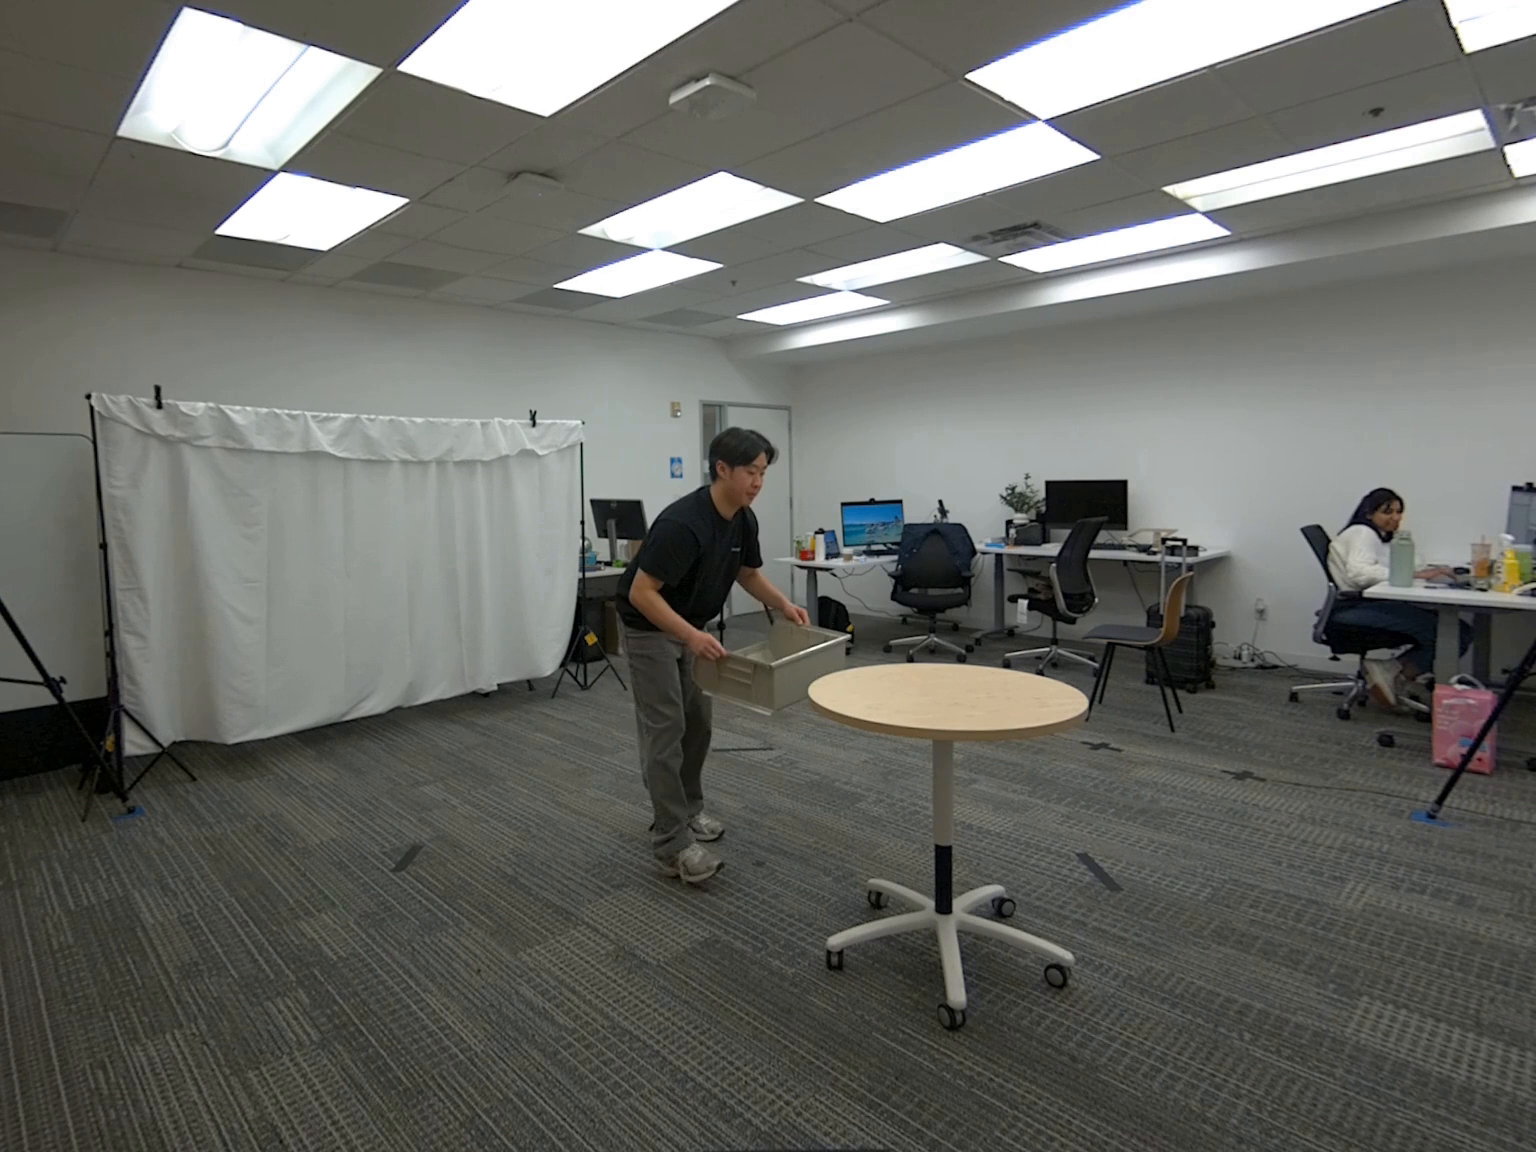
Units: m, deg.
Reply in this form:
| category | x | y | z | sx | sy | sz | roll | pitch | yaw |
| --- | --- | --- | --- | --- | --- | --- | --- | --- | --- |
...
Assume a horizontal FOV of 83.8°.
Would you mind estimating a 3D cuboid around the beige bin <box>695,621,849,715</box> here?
| category | x | y | z | sx | sy | sz | roll | pitch | yaw |
| --- | --- | --- | --- | --- | --- | --- | --- | --- | --- |
| beige bin | 0.022 | 0.307 | 2.961 | 0.390 | 0.187 | 0.412 | 10 | 16 | 42 |
